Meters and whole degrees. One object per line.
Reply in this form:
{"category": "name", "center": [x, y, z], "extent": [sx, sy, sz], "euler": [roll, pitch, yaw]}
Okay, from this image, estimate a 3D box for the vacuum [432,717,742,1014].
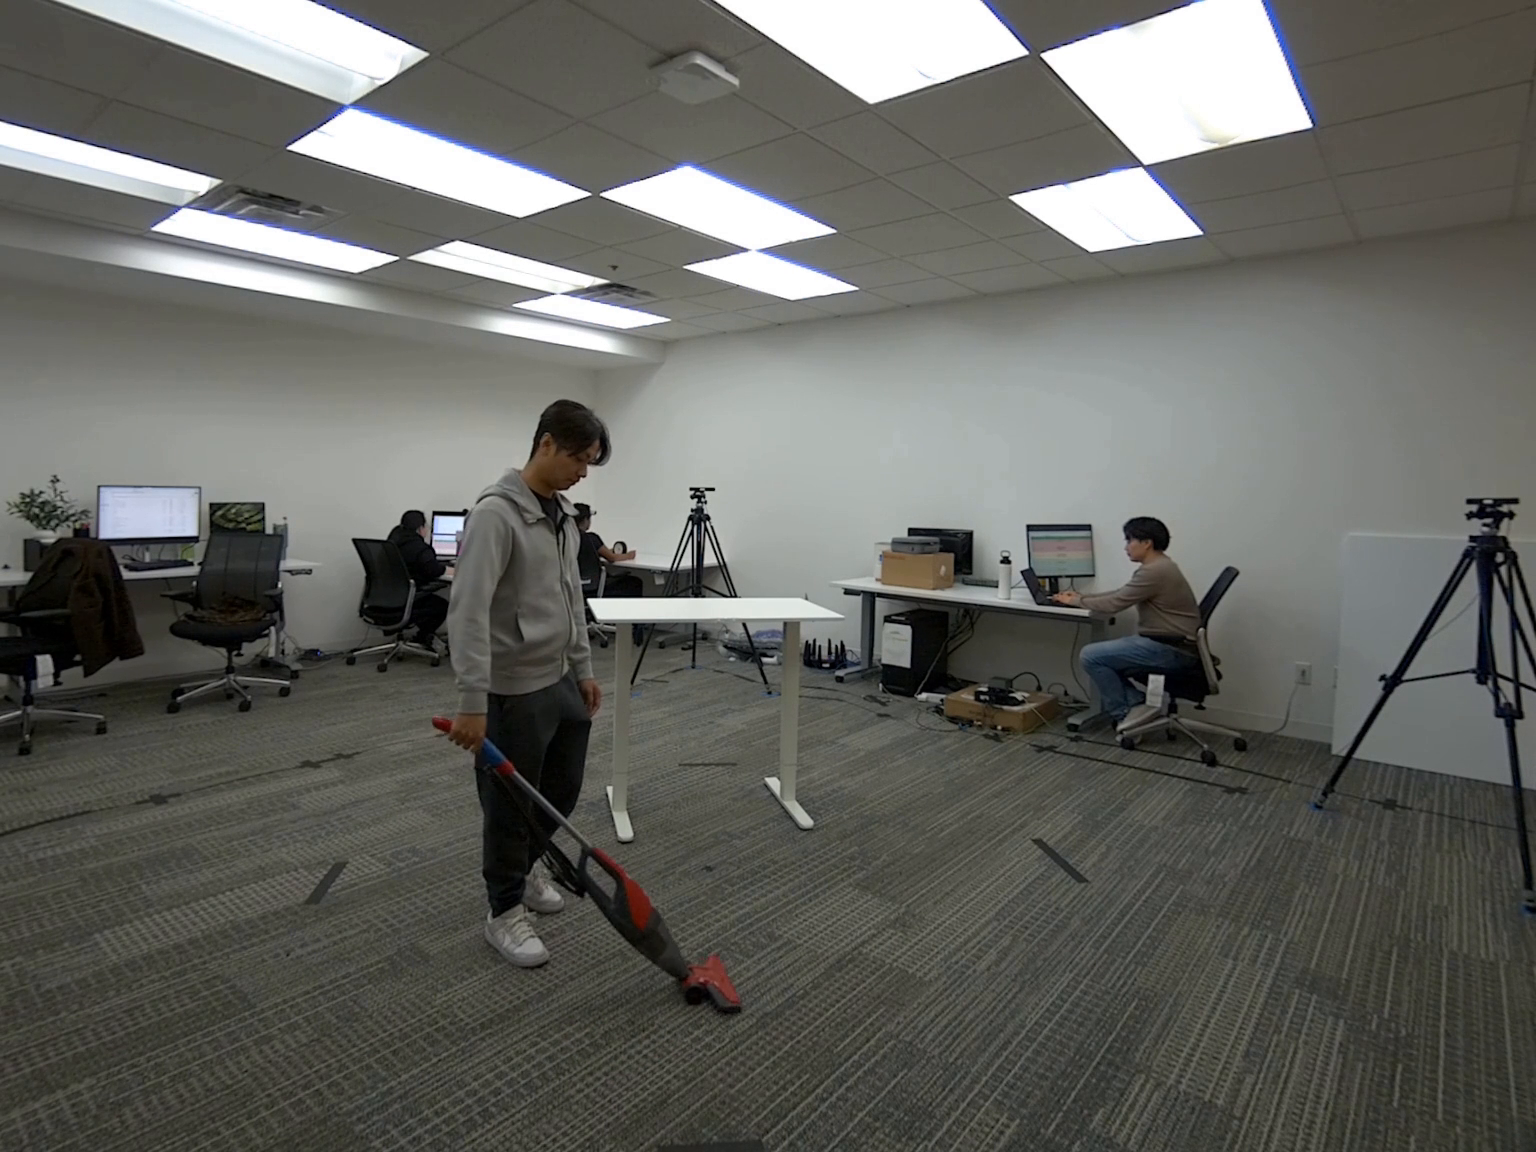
{"category": "vacuum", "center": [-0.497, 0.754, 2.249], "extent": [0.144, 1.030, 0.257], "euler": [-42, 13, -5]}
